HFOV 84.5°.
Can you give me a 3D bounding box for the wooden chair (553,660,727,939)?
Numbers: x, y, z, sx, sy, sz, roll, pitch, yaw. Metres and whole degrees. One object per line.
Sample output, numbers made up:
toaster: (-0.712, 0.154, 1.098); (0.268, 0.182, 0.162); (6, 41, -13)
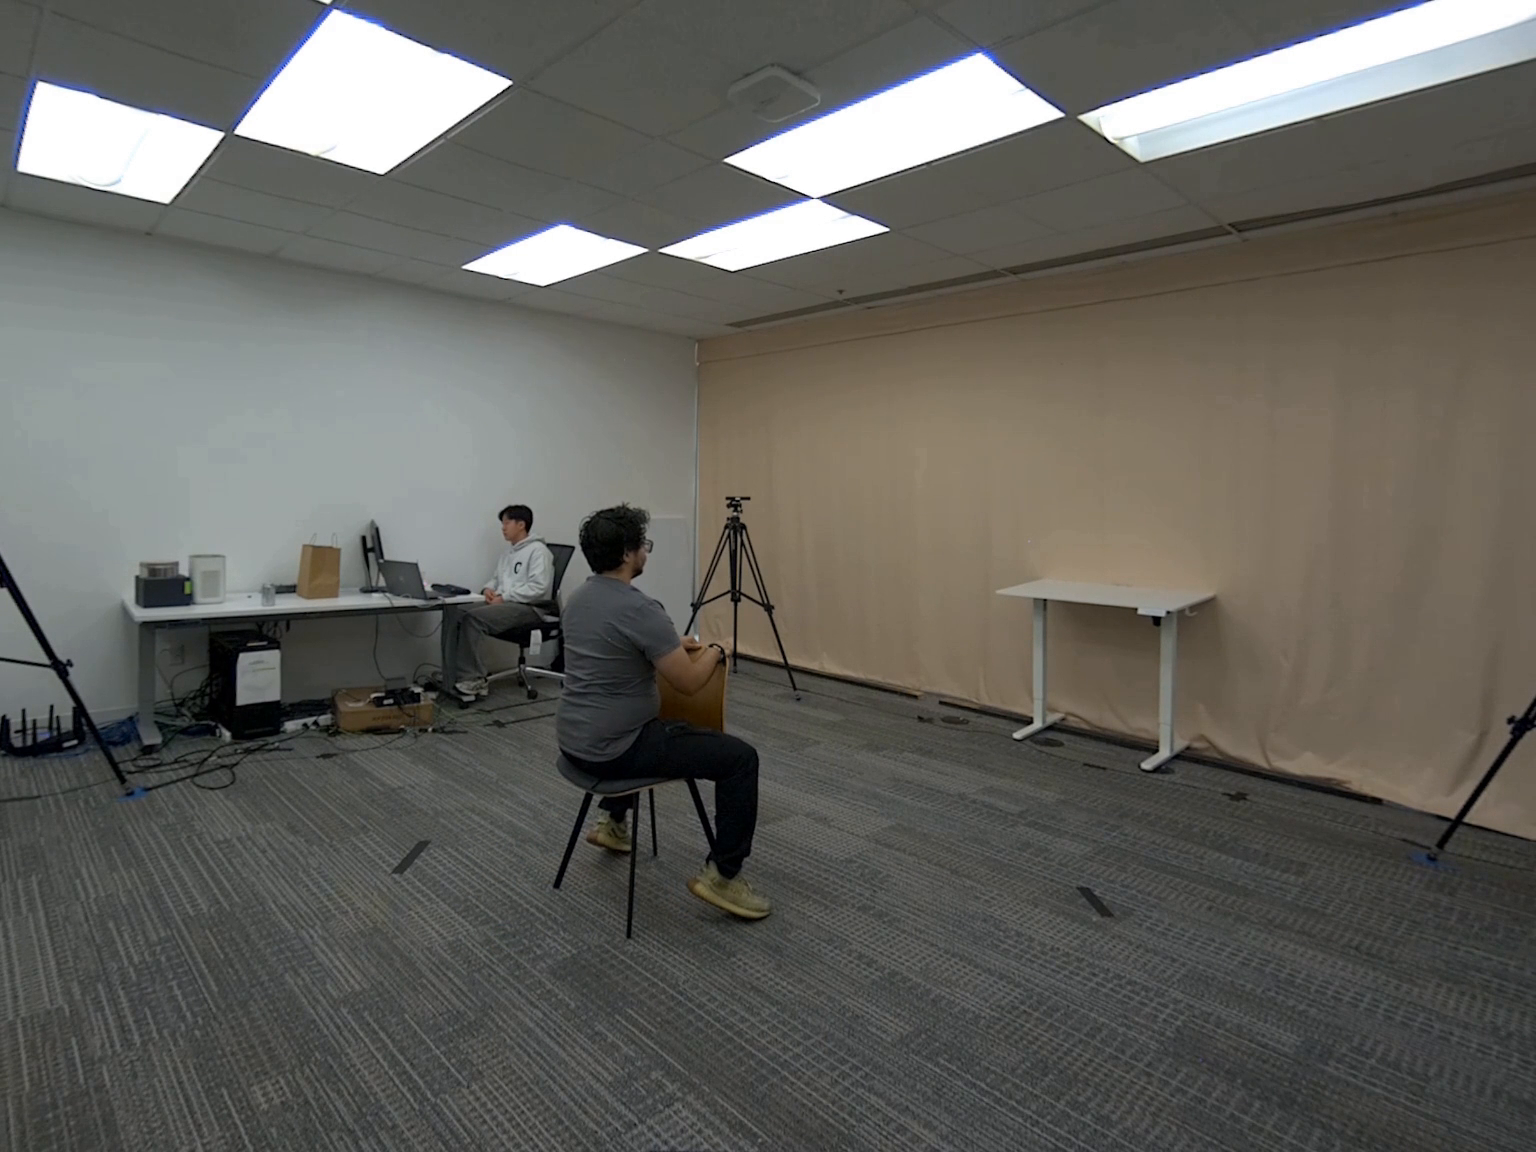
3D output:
wooden chair: (-0.440, 0.692, 2.923); (0.510, 0.877, 0.490); (4, 1, -44)
